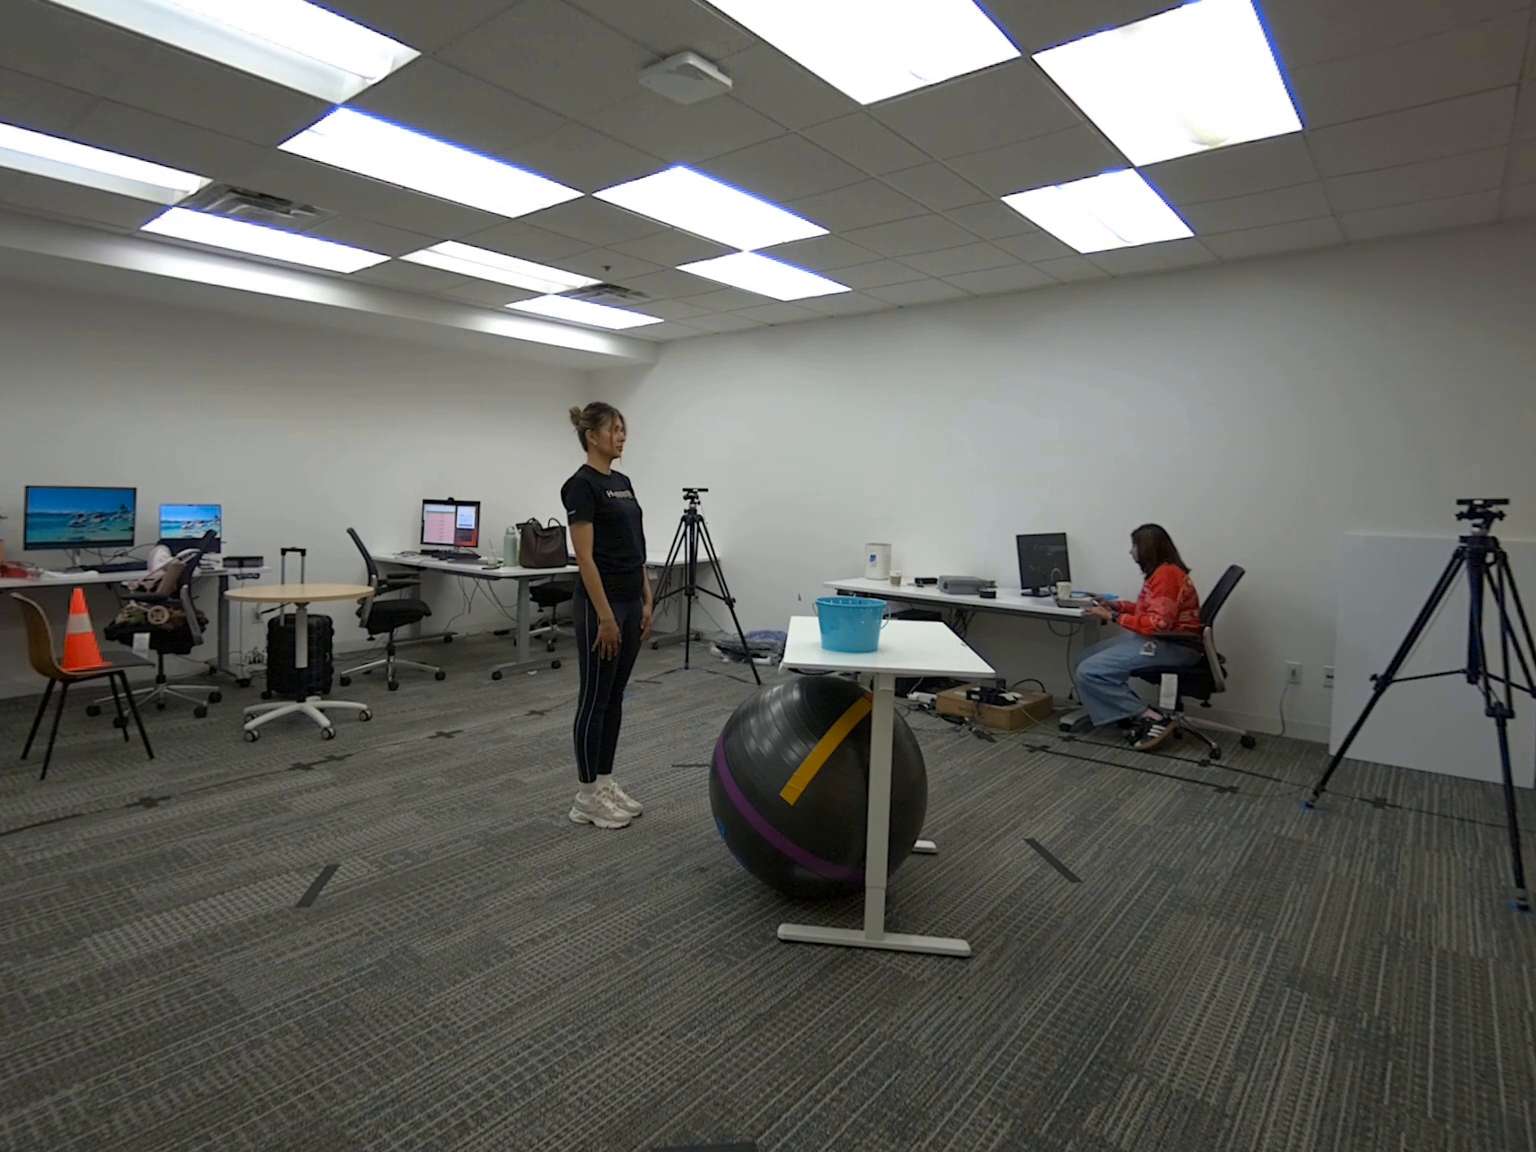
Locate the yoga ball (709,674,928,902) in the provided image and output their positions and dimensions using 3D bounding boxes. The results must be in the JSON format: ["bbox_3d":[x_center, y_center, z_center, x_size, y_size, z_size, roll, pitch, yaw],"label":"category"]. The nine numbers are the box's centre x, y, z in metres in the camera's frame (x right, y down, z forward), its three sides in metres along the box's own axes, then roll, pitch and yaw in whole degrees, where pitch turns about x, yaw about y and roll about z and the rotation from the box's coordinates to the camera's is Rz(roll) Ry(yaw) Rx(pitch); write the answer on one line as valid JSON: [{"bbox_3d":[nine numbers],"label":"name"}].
[{"bbox_3d":[0.173,0.741,2.973,0.757,0.756,0.762,1,4,-2],"label":"yoga ball"}]
